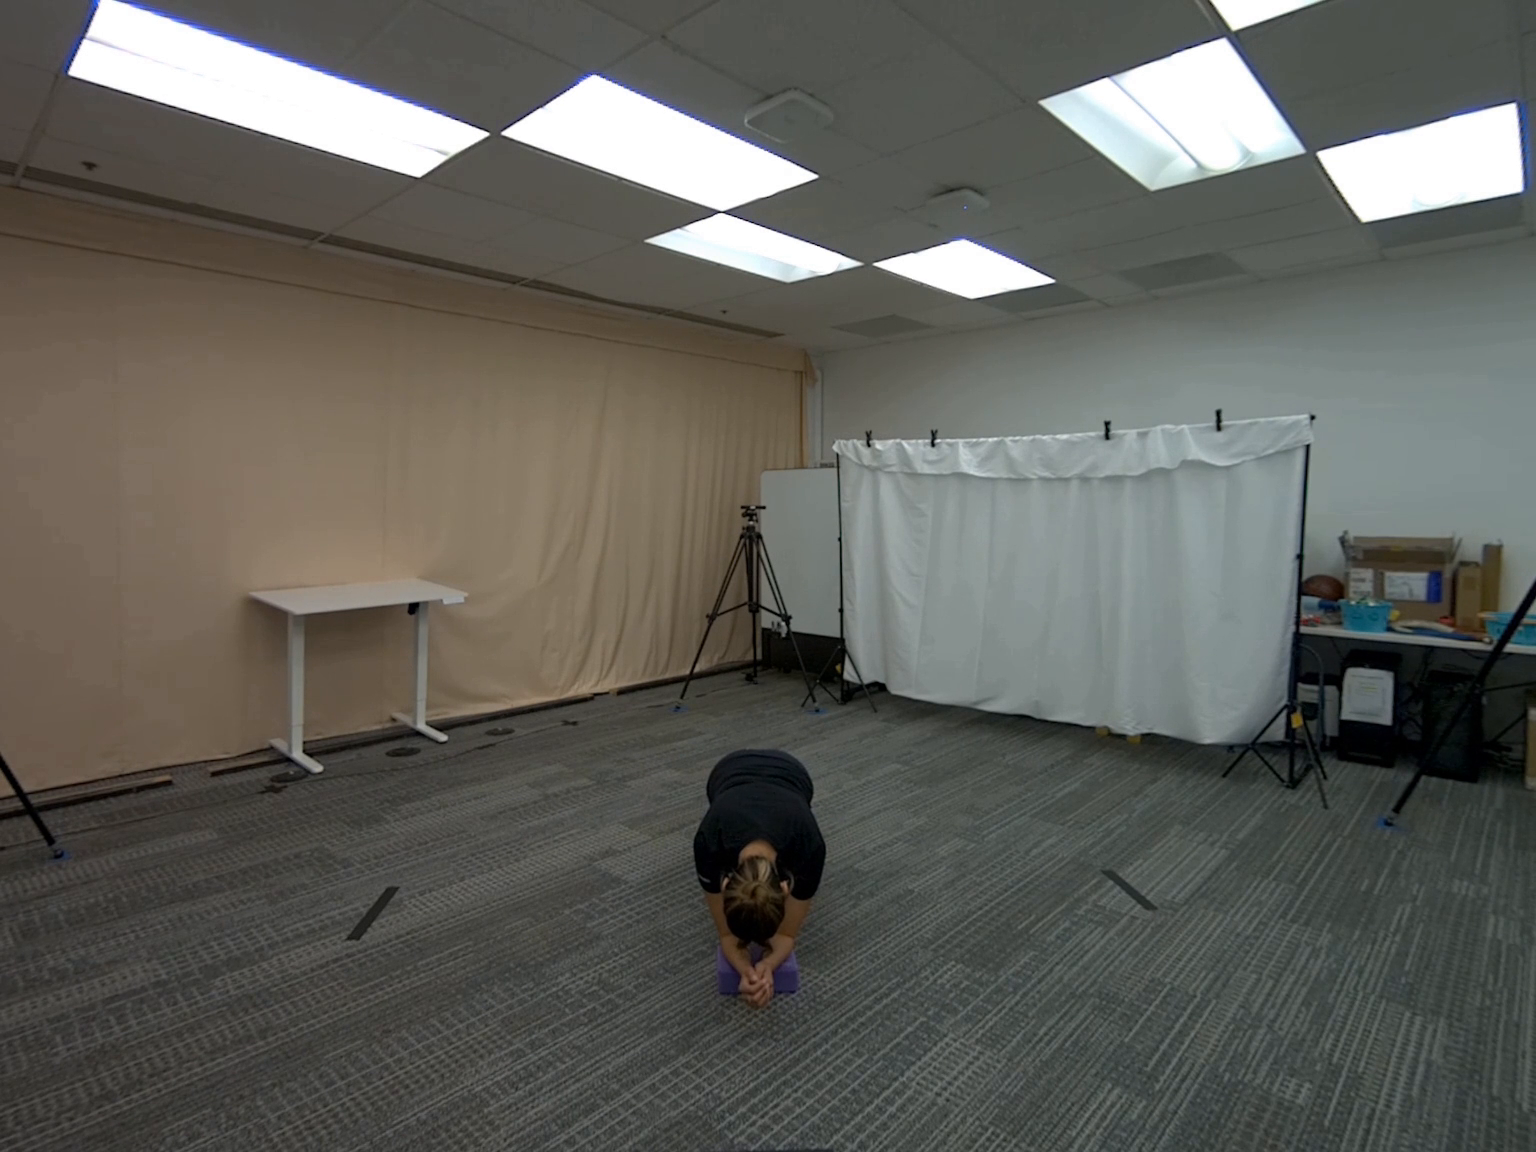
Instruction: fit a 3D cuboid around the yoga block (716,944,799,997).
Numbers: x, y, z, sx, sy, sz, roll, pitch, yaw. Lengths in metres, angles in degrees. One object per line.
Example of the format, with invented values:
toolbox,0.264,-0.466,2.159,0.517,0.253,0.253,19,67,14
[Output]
yoga block,-0.031,1.142,2.470,0.229,0.076,0.149,0,5,-1
